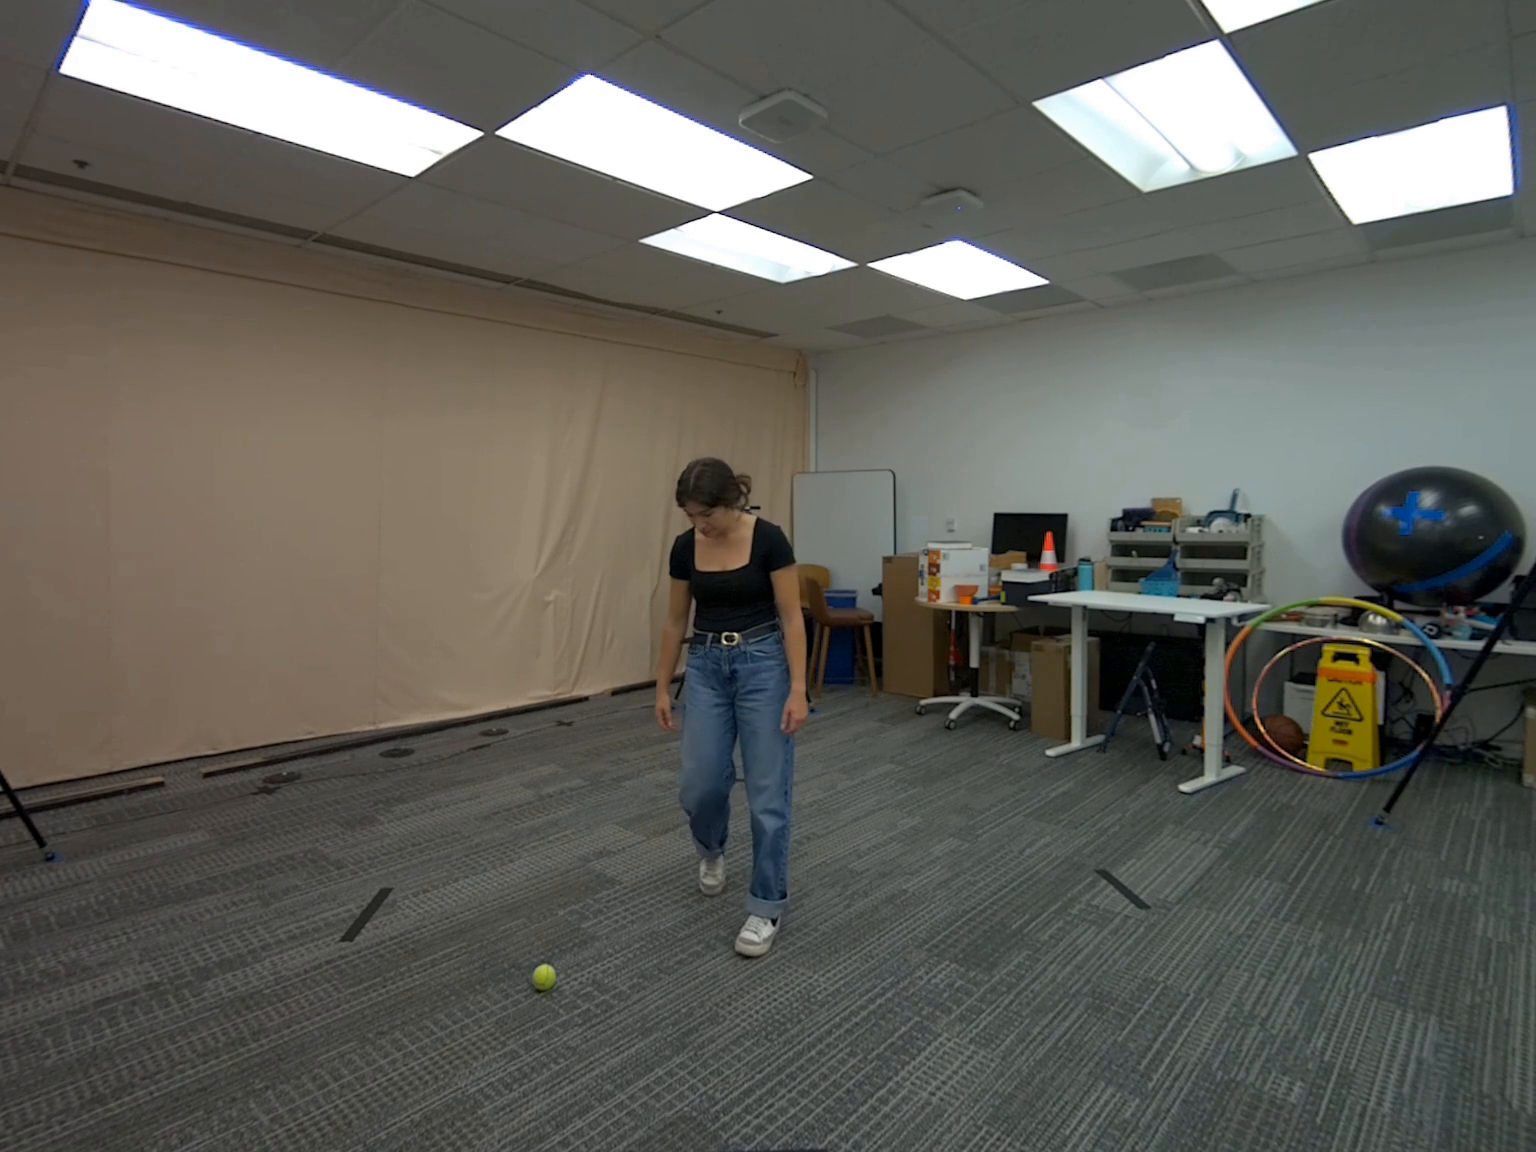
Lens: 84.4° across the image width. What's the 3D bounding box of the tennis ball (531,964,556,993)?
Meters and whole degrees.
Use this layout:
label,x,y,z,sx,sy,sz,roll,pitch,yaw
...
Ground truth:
label,x,y,z,sx,sy,sz,roll,pitch,yaw
tennis ball,-0.643,1.158,2.423,0.066,0.066,0.067,0,4,-2
